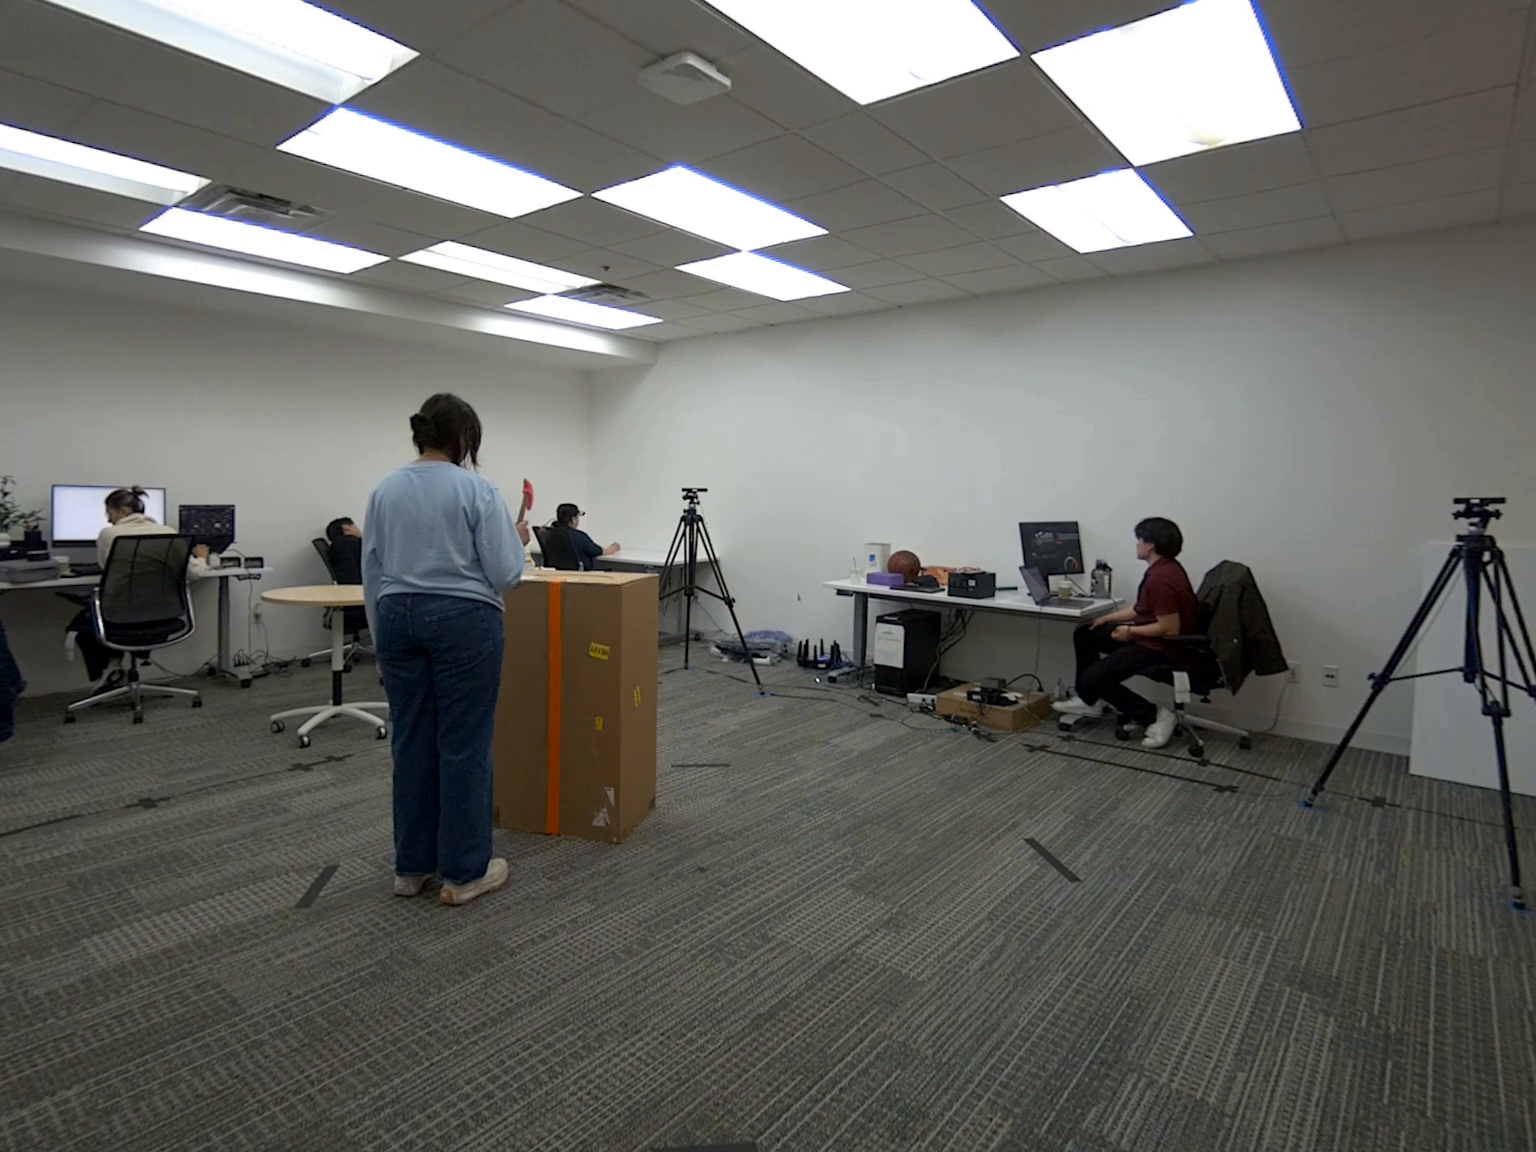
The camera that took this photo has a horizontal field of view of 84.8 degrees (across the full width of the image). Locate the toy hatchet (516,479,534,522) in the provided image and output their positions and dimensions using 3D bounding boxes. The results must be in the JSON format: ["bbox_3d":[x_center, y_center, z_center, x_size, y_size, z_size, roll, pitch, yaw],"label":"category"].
[{"bbox_3d":[-0.931,-0.226,3.212,0.029,0.276,0.128,-1,-23,-2],"label":"toy hatchet"}]
